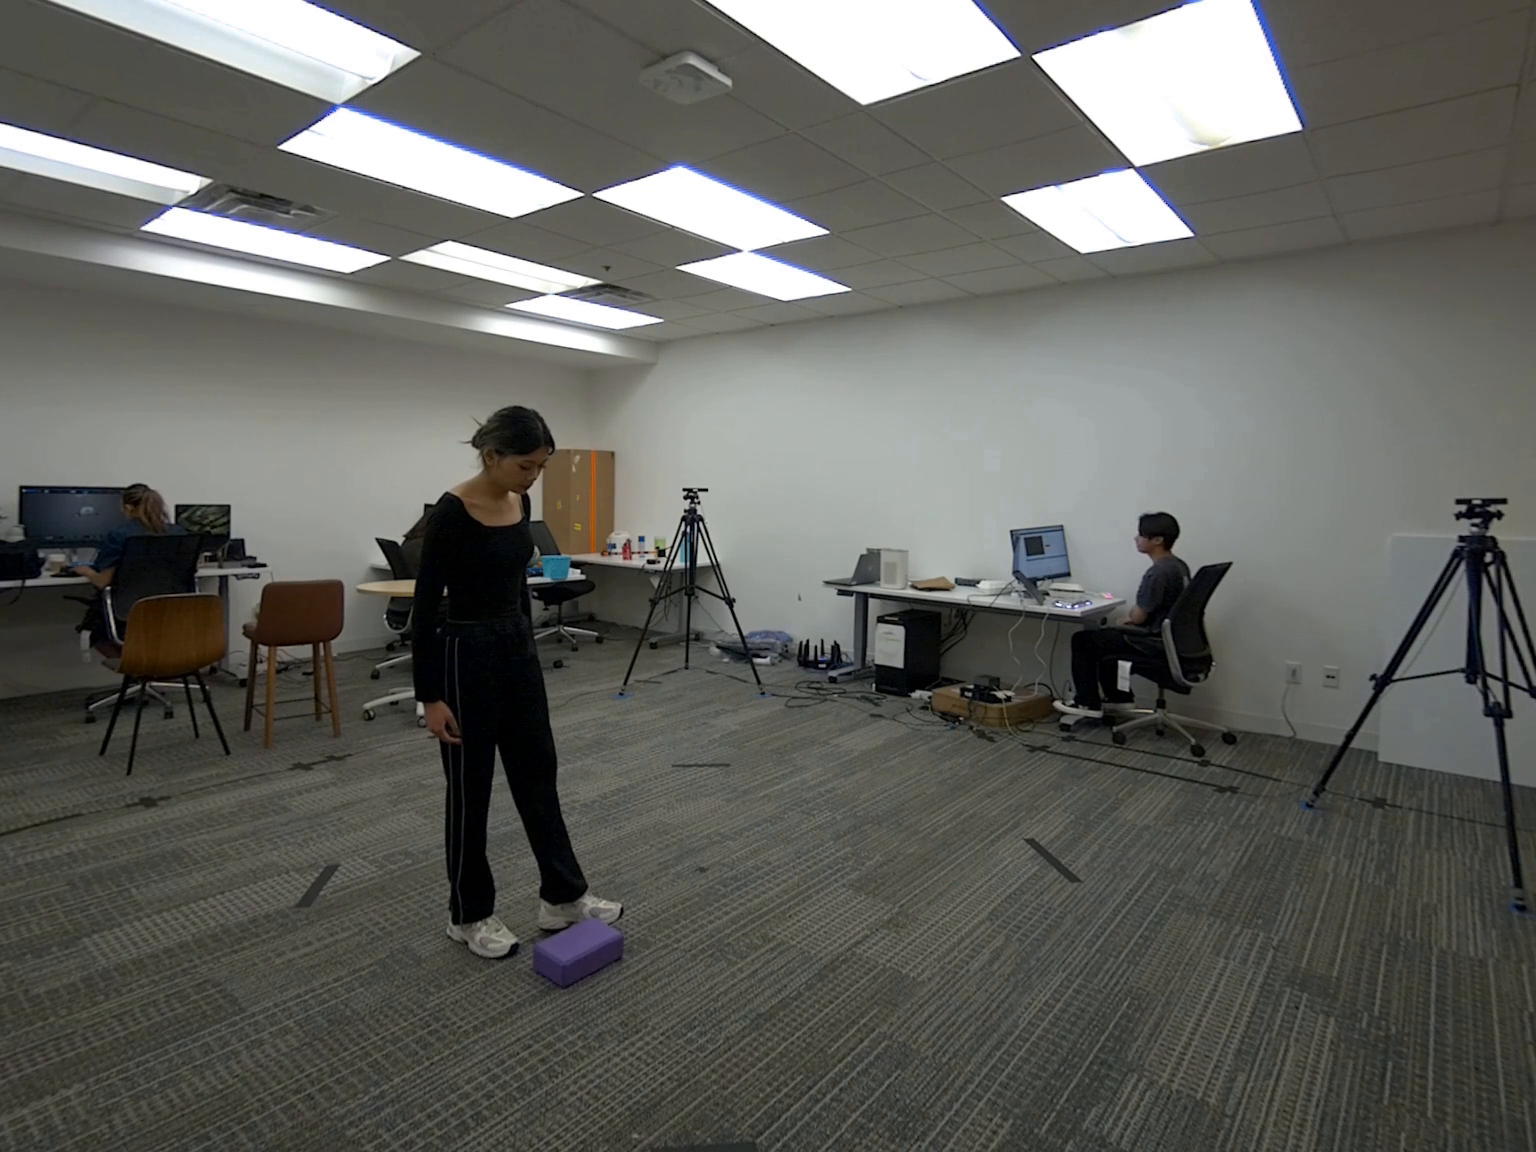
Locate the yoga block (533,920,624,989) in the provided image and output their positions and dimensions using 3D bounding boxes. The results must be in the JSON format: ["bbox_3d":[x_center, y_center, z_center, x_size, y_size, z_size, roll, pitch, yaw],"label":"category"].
[{"bbox_3d":[-0.575,1.082,2.491,0.154,0.076,0.223,6,8,37],"label":"yoga block"}]
